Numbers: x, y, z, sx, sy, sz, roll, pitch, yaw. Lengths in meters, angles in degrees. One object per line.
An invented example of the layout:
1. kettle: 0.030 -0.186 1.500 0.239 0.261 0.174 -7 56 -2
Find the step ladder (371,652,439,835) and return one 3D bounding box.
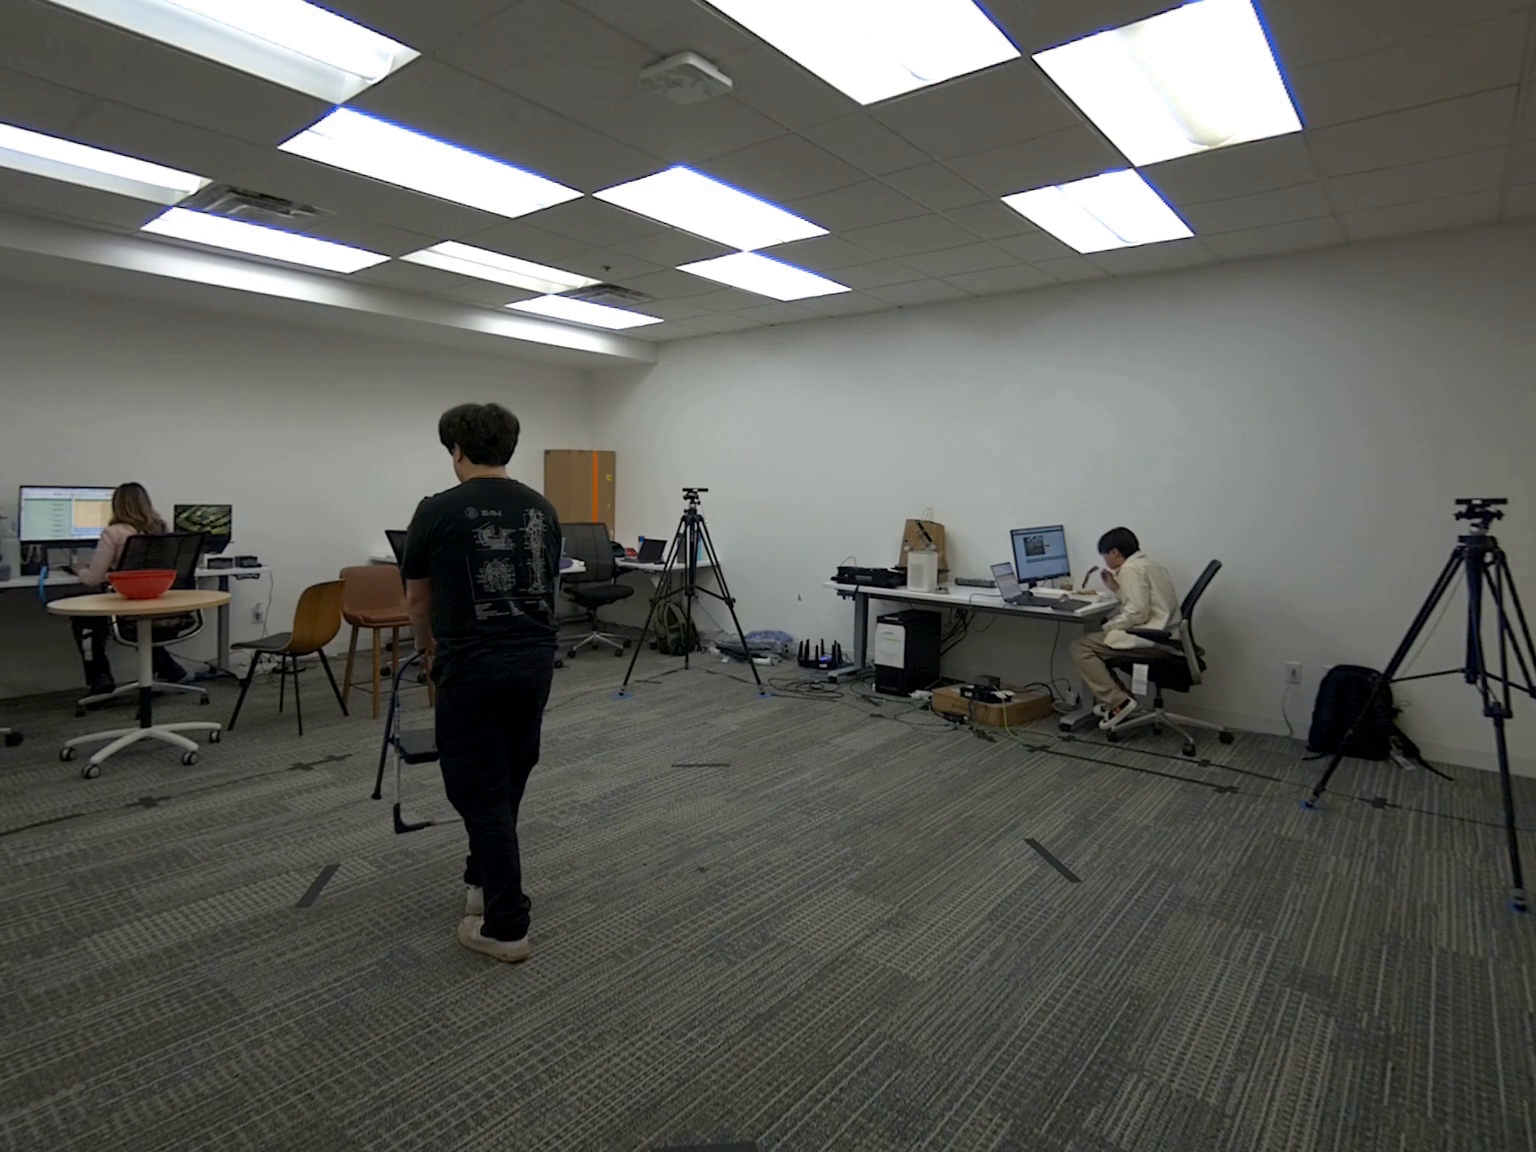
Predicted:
1. step ladder: -1.138 0.517 2.992 0.417 0.603 0.362 1 7 -36
